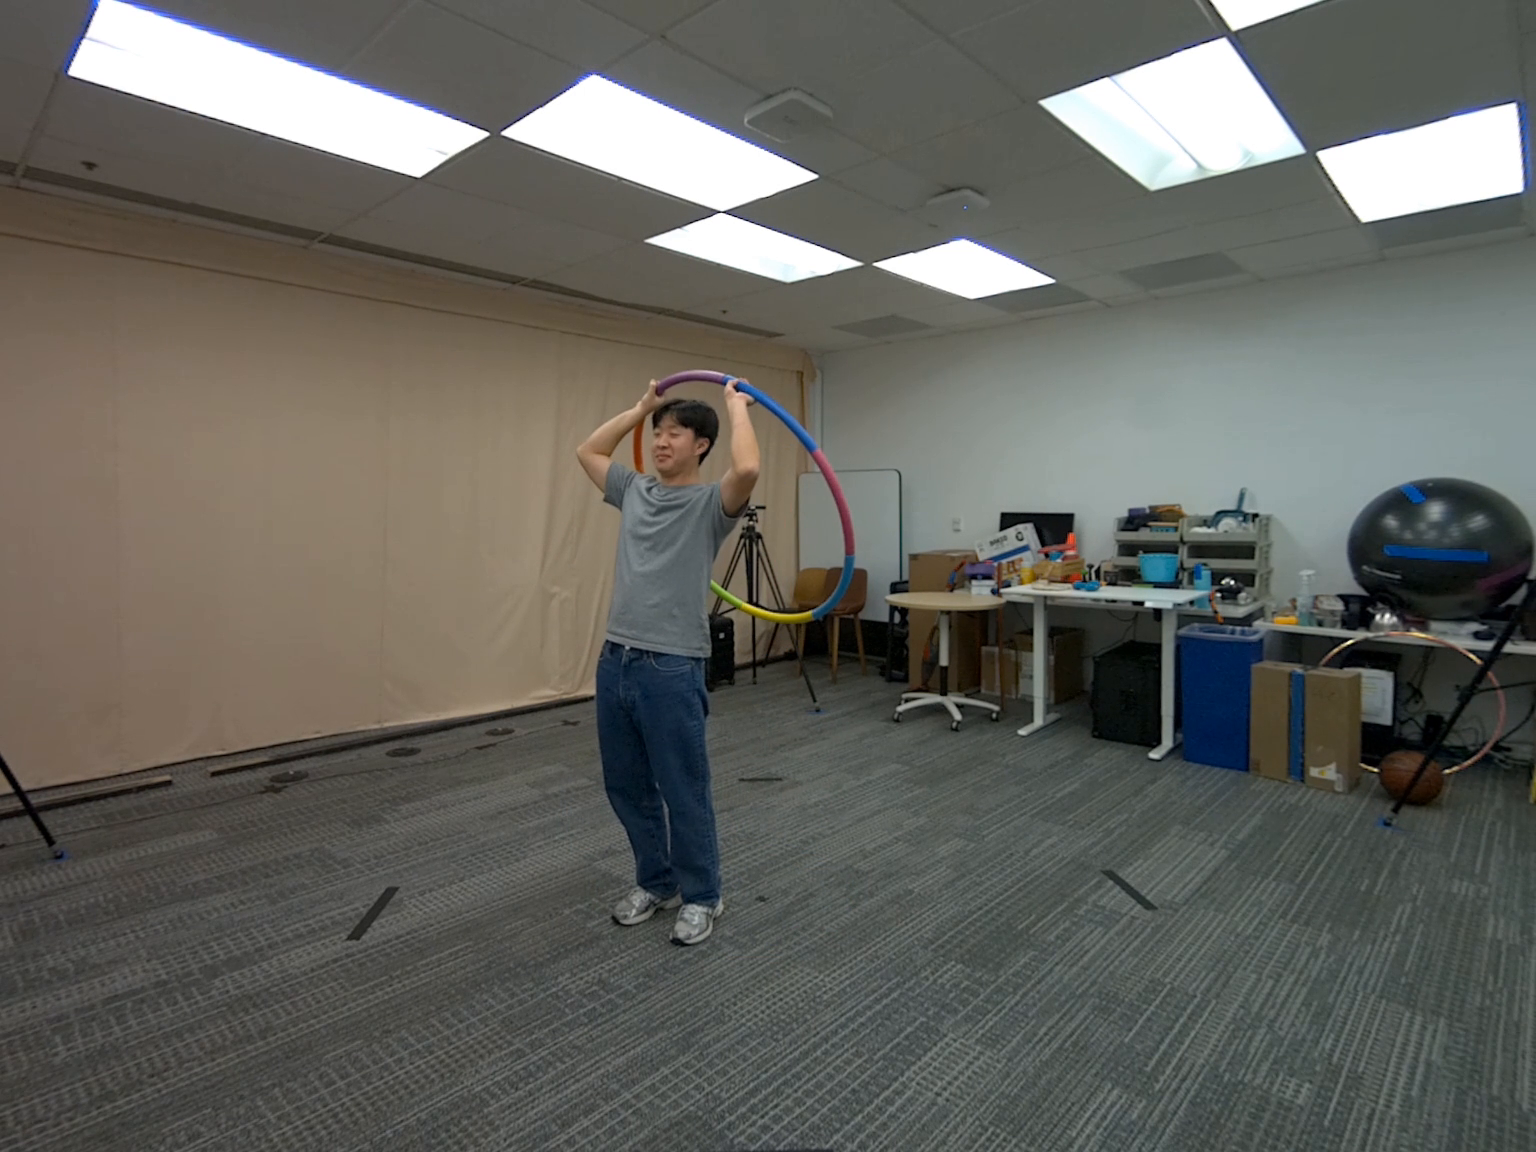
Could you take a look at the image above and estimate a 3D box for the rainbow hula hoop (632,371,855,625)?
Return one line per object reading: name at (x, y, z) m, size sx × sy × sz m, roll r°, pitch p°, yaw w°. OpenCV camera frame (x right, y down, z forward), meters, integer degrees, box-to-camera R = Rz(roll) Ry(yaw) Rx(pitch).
rainbow hula hoop at (-0.125, -0.247, 2.920) m, size 1.011 × 0.960 × 0.035 m, roll 4°, pitch 32°, yaw 47°
